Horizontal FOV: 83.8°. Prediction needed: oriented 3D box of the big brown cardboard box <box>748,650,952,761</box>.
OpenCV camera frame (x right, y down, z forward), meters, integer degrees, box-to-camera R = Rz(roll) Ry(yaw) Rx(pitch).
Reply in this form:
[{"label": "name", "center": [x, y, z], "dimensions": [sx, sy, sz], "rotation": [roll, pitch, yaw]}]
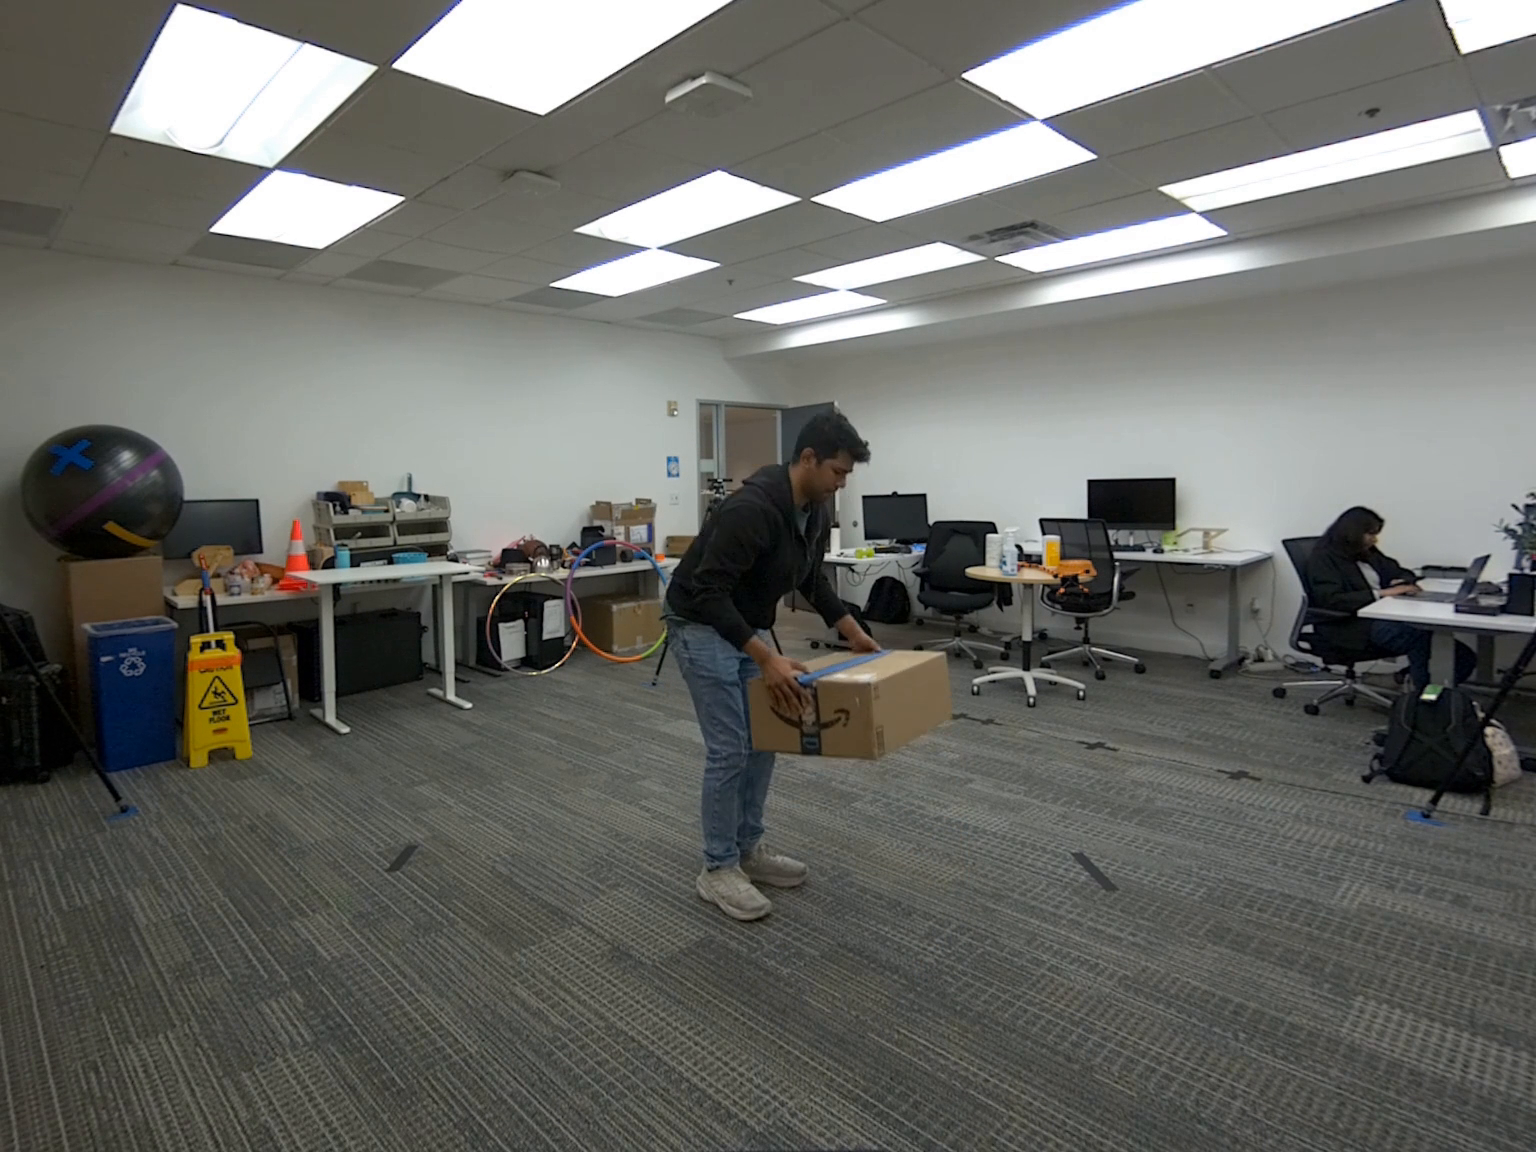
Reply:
[{"label": "big brown cardboard box", "center": [0.262, 0.391, 2.678], "dimensions": [0.428, 0.233, 0.574], "rotation": [-4, 1, 35]}]
